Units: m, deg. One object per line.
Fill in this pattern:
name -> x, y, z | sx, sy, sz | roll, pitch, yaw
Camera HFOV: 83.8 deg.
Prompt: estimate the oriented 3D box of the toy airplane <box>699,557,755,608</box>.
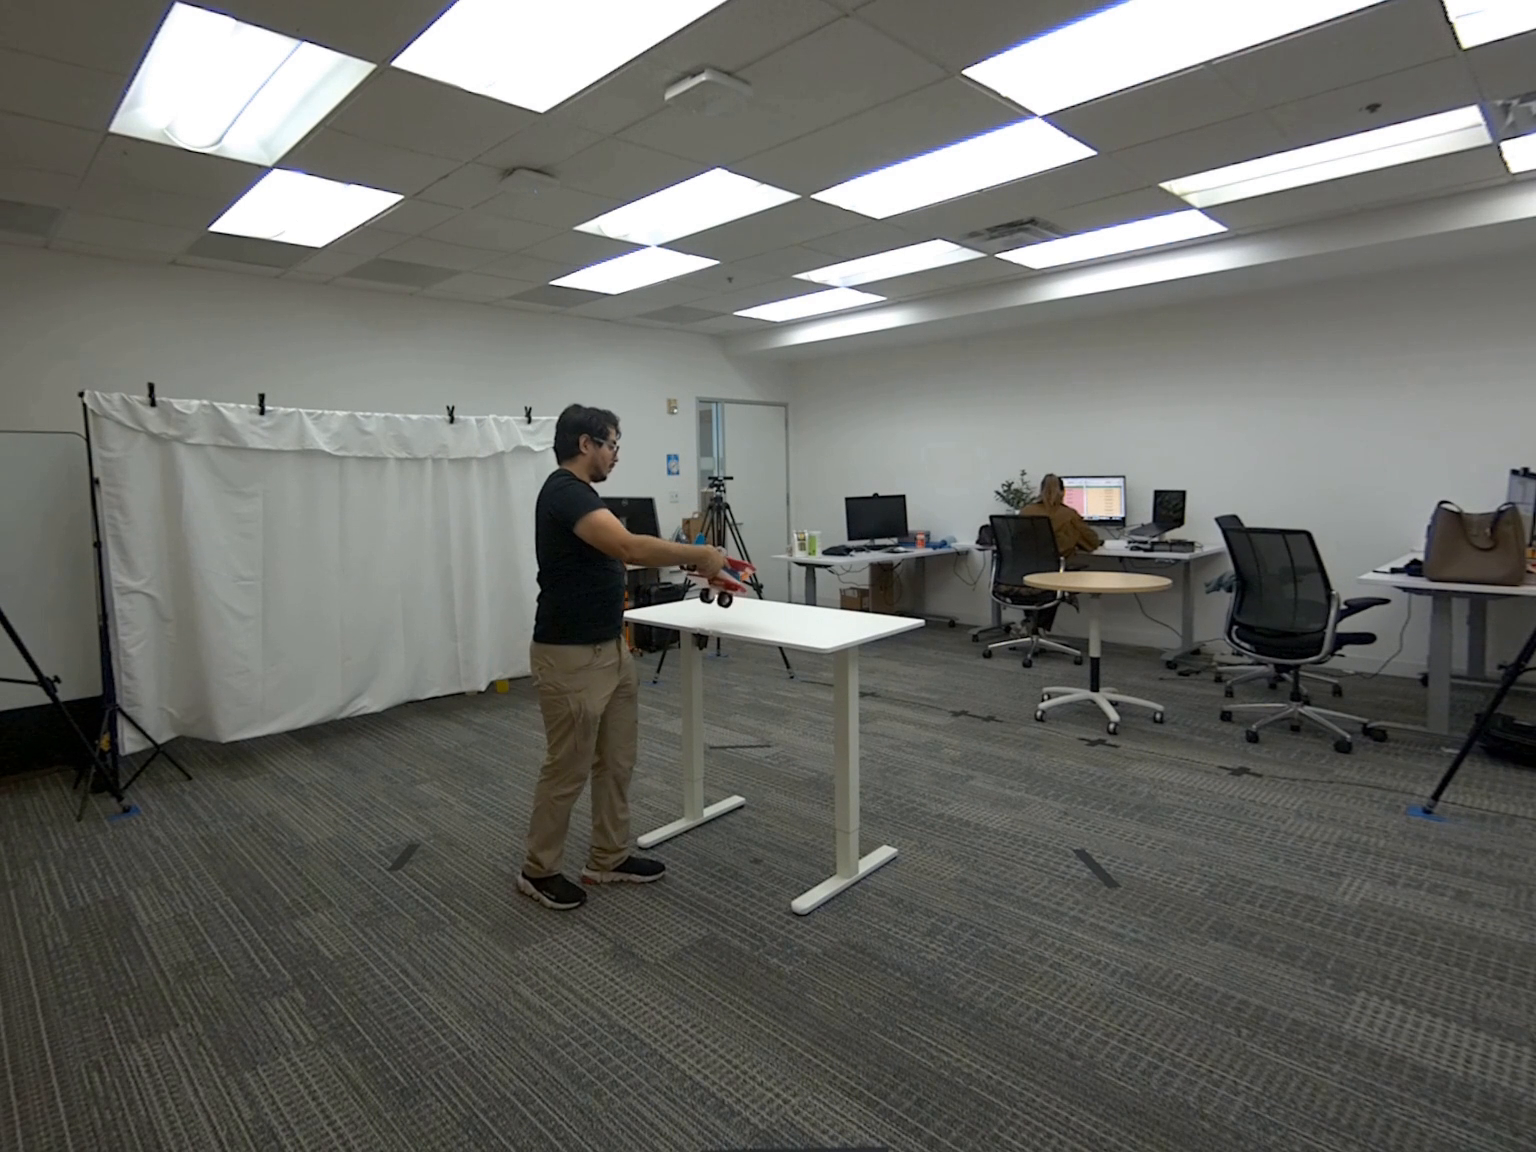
toy airplane -> -0.171, -0.018, 2.820 | 0.257, 0.157, 0.252 | 26, -28, 19
